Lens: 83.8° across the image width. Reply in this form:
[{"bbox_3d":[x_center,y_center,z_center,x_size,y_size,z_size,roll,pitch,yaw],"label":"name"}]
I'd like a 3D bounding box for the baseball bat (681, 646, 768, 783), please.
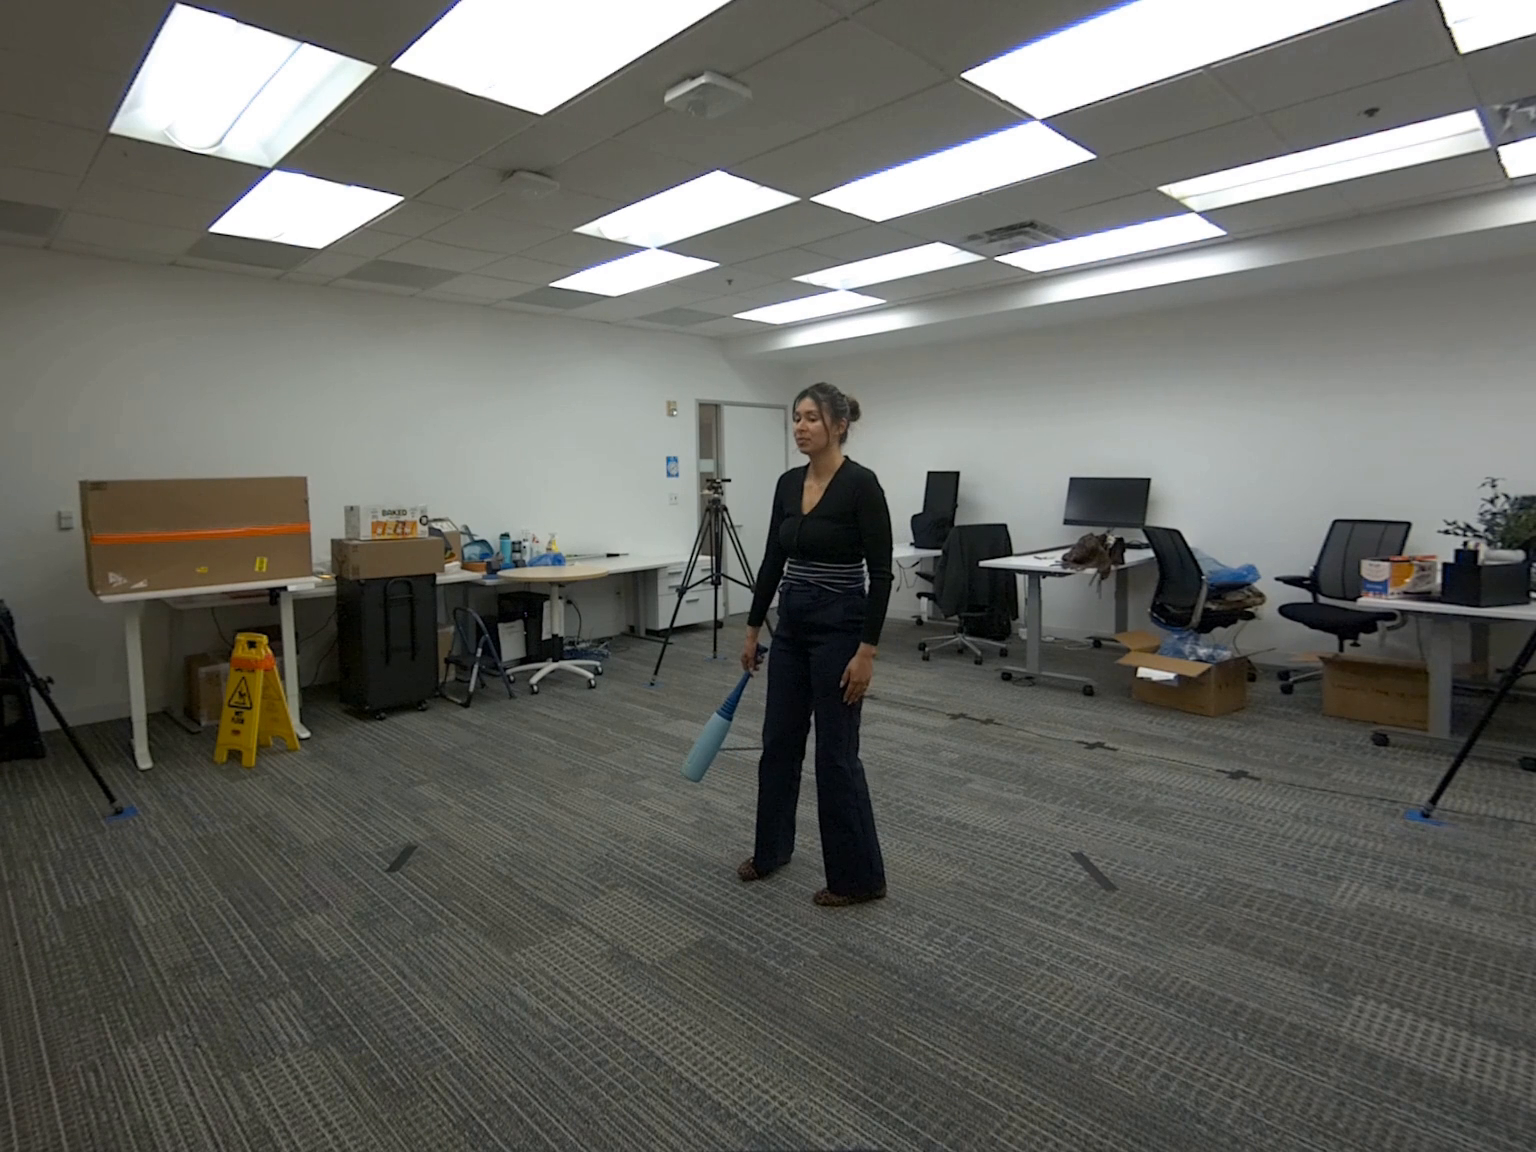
[{"bbox_3d":[-0.136,0.490,3.035,0.089,0.543,0.089,30,-2,-1],"label":"baseball bat"}]
